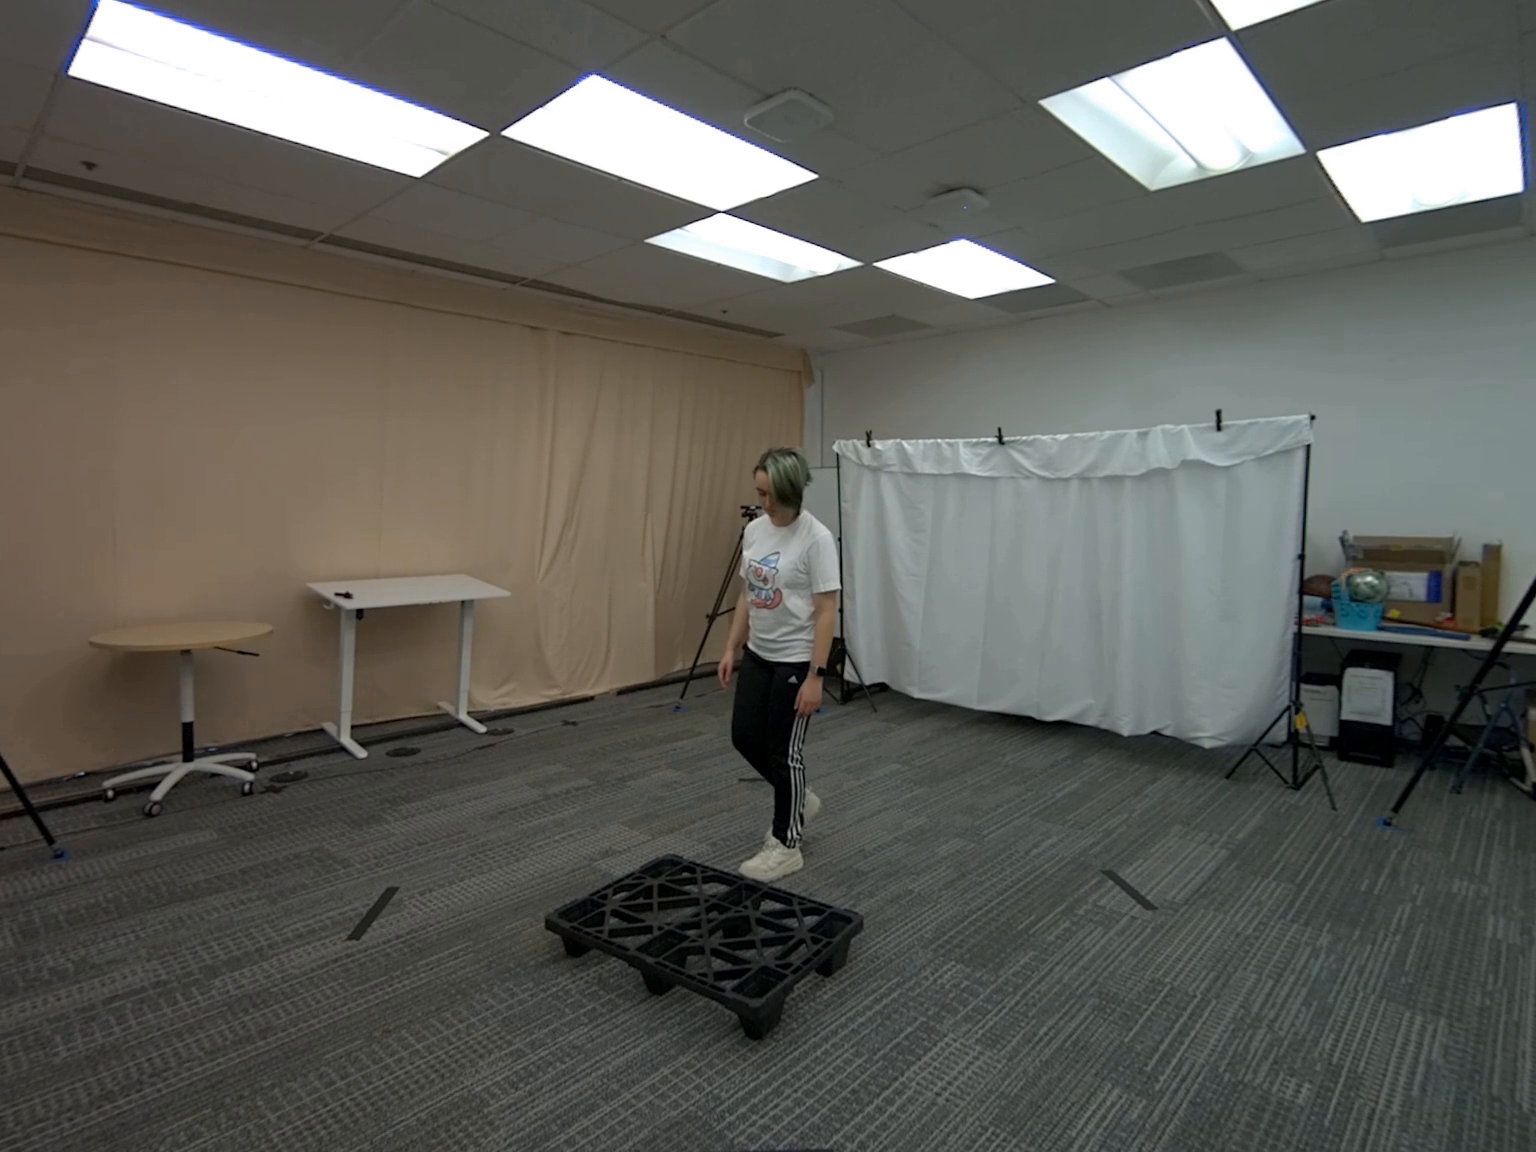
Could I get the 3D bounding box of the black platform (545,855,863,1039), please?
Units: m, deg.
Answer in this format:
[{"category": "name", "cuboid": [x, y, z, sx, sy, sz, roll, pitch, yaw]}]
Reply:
[{"category": "black platform", "cuboid": [-0.194, 1.113, 2.581, 0.831, 0.143, 0.588, 3, 6, 35]}]
